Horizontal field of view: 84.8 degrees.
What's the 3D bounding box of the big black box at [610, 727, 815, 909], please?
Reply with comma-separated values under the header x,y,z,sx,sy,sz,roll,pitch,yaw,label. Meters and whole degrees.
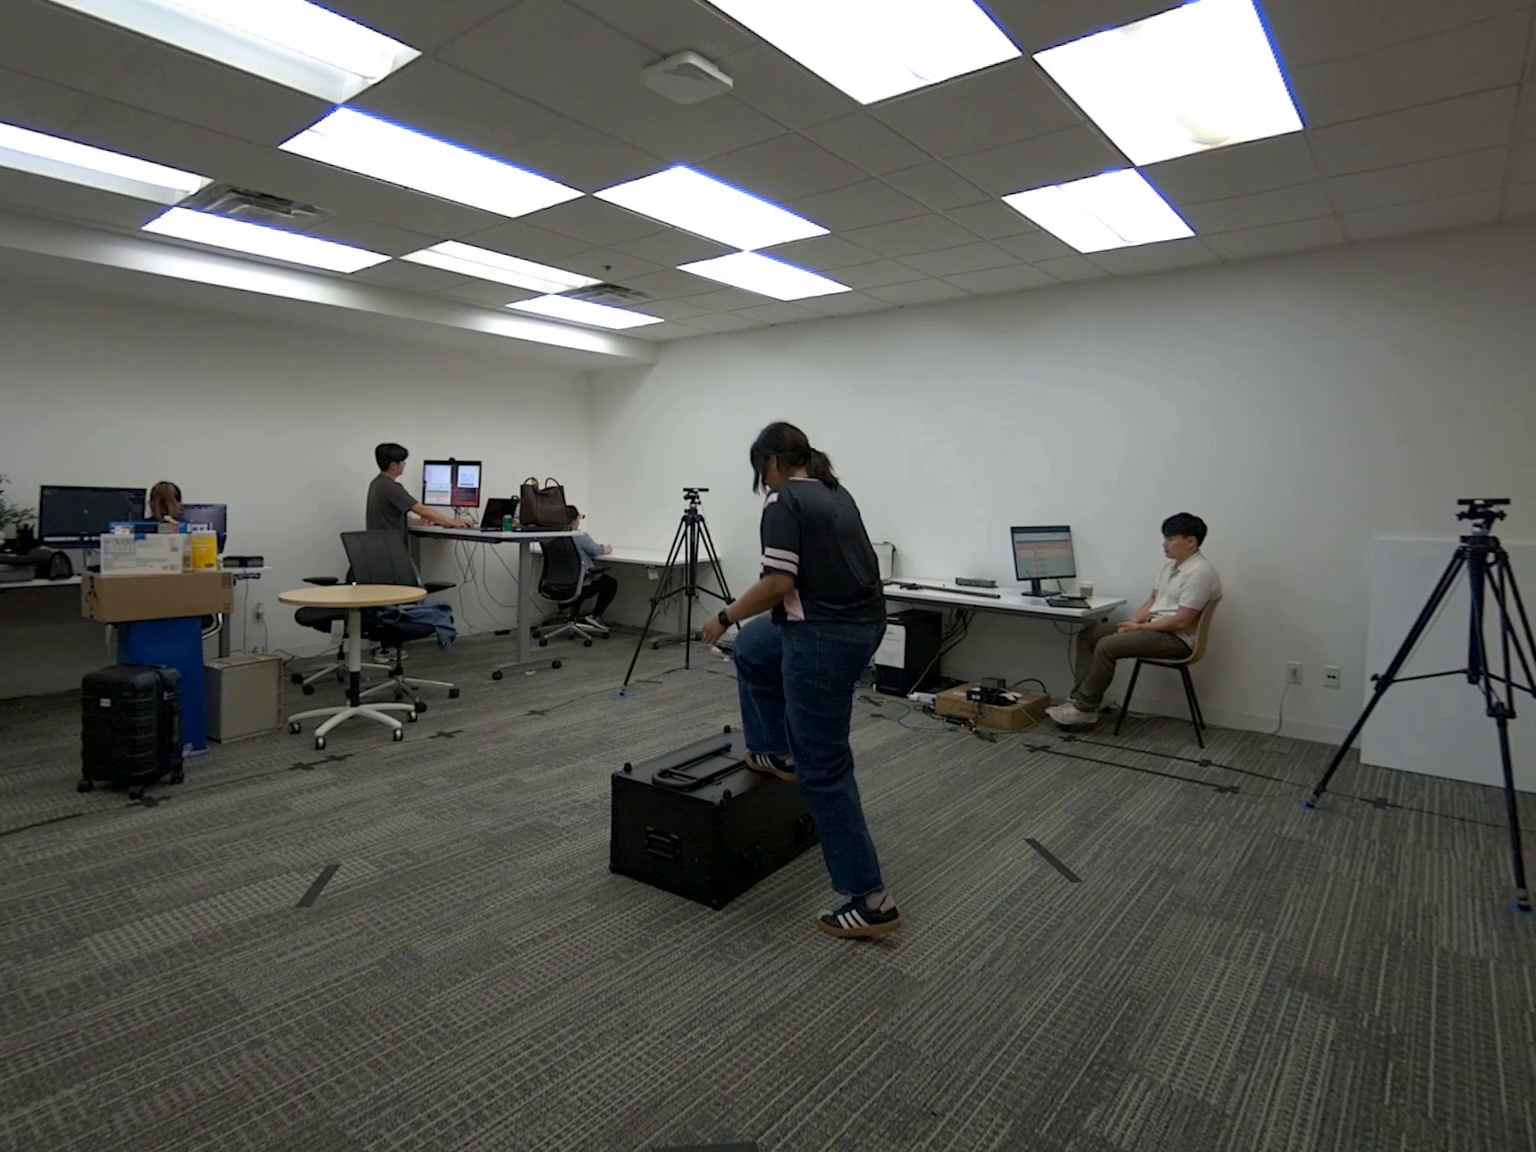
x,y,z,sx,sy,sz,roll,pitch,yaw,label
-0.158,0.870,3.277,0.539,0.384,0.845,2,5,33,big black box
